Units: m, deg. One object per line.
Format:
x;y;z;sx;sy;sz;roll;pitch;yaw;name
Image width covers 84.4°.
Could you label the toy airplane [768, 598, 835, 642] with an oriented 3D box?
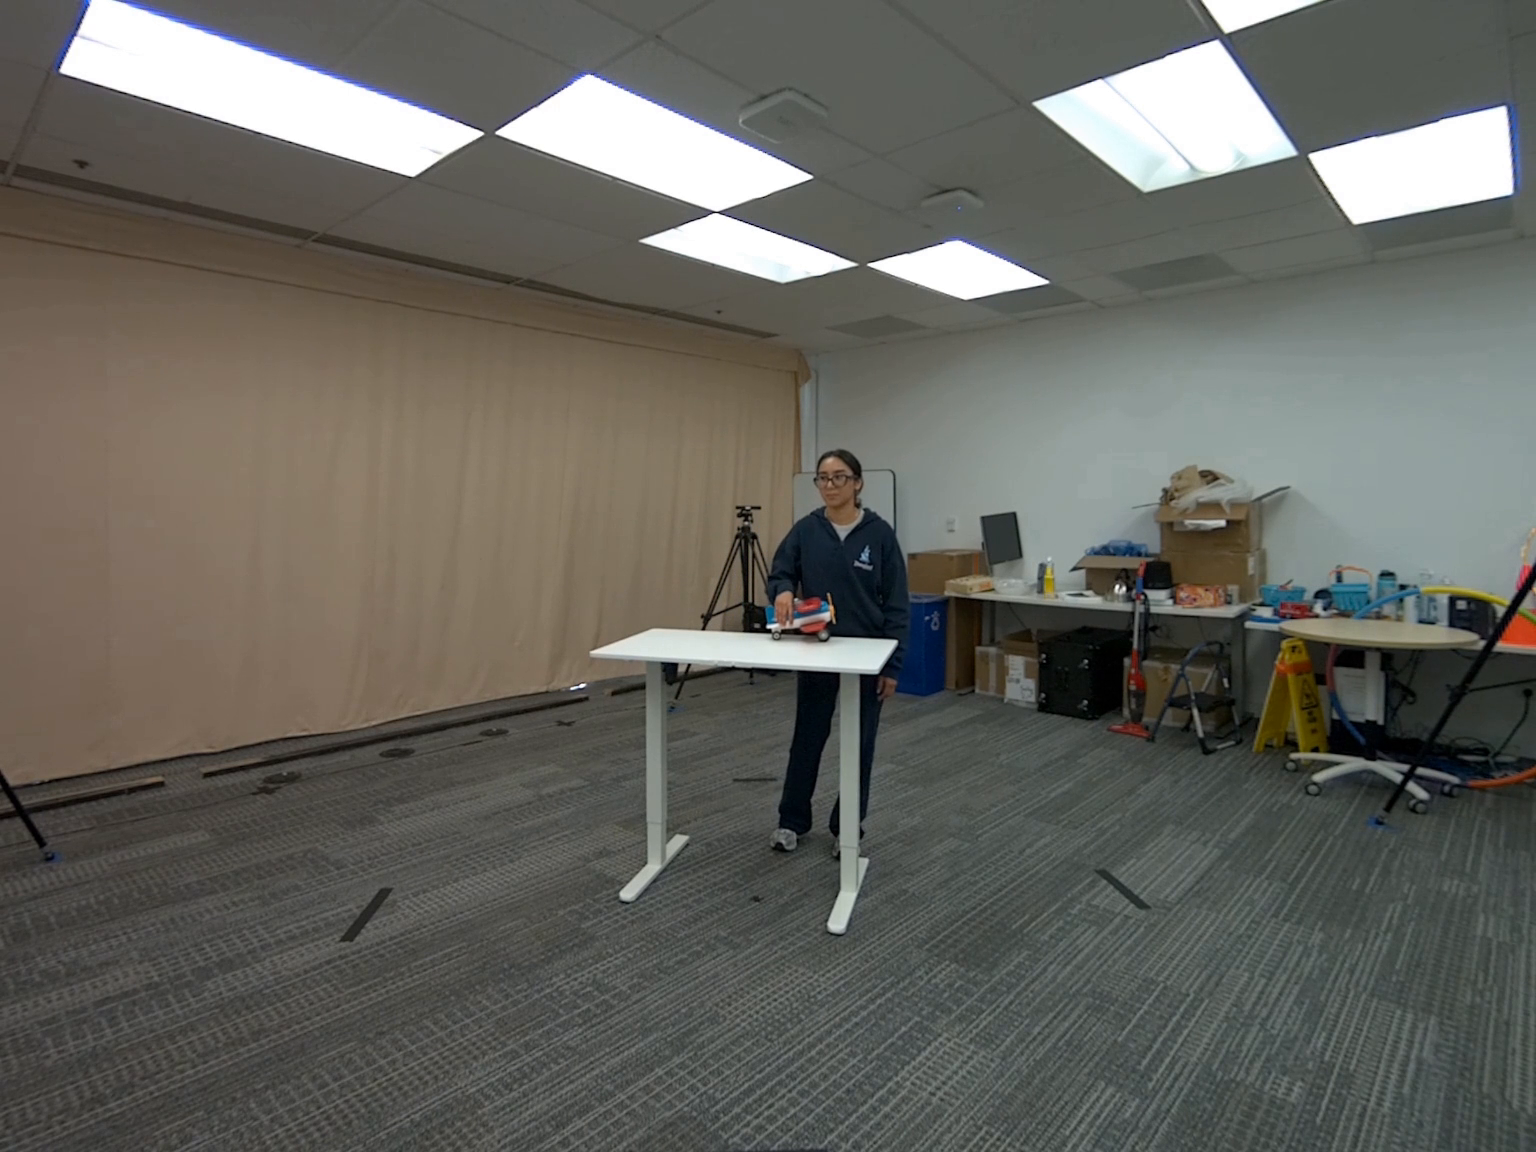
0.135;0.166;3.184;0.253;0.156;0.257;-3;5;-25;toy airplane
